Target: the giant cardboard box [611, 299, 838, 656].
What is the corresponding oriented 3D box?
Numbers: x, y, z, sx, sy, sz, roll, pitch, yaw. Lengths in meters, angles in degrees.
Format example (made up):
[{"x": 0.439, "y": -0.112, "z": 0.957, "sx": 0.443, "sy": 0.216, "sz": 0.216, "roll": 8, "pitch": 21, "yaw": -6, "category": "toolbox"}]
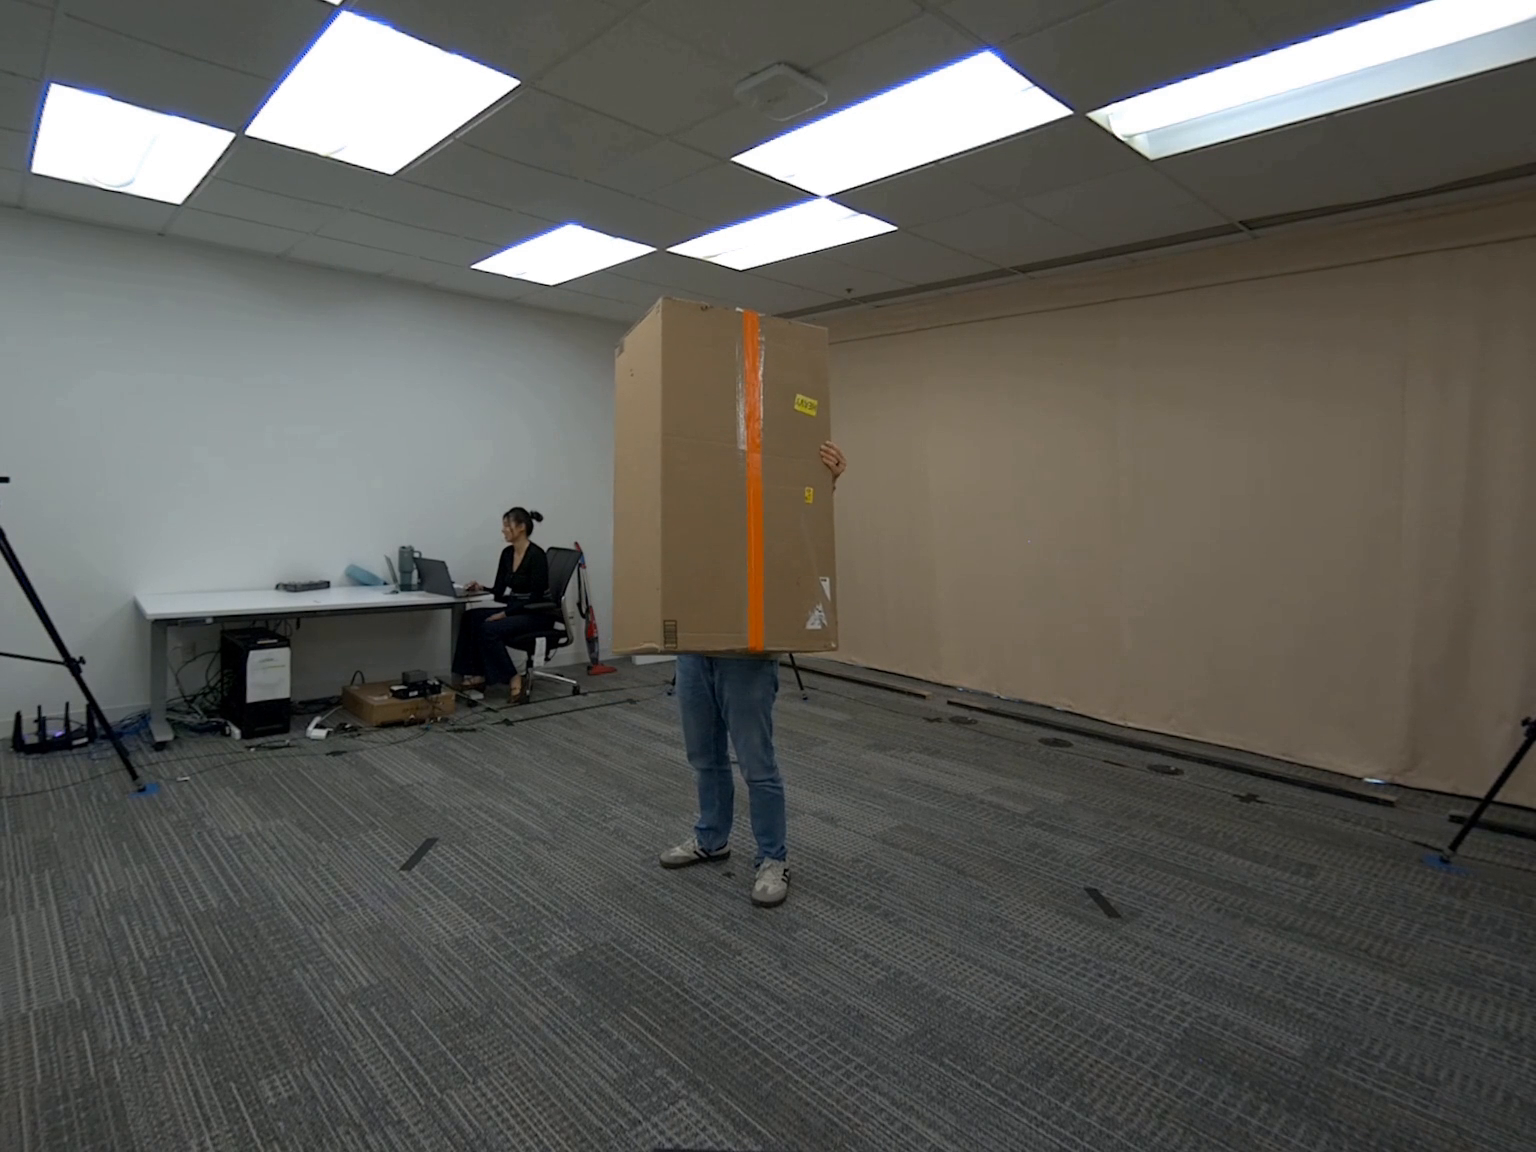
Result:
[{"x": -0.155, "y": -0.272, "z": 2.655, "sx": 0.566, "sy": 1.033, "sz": 0.432, "roll": 4, "pitch": -10, "yaw": -28, "category": "giant cardboard box"}]
